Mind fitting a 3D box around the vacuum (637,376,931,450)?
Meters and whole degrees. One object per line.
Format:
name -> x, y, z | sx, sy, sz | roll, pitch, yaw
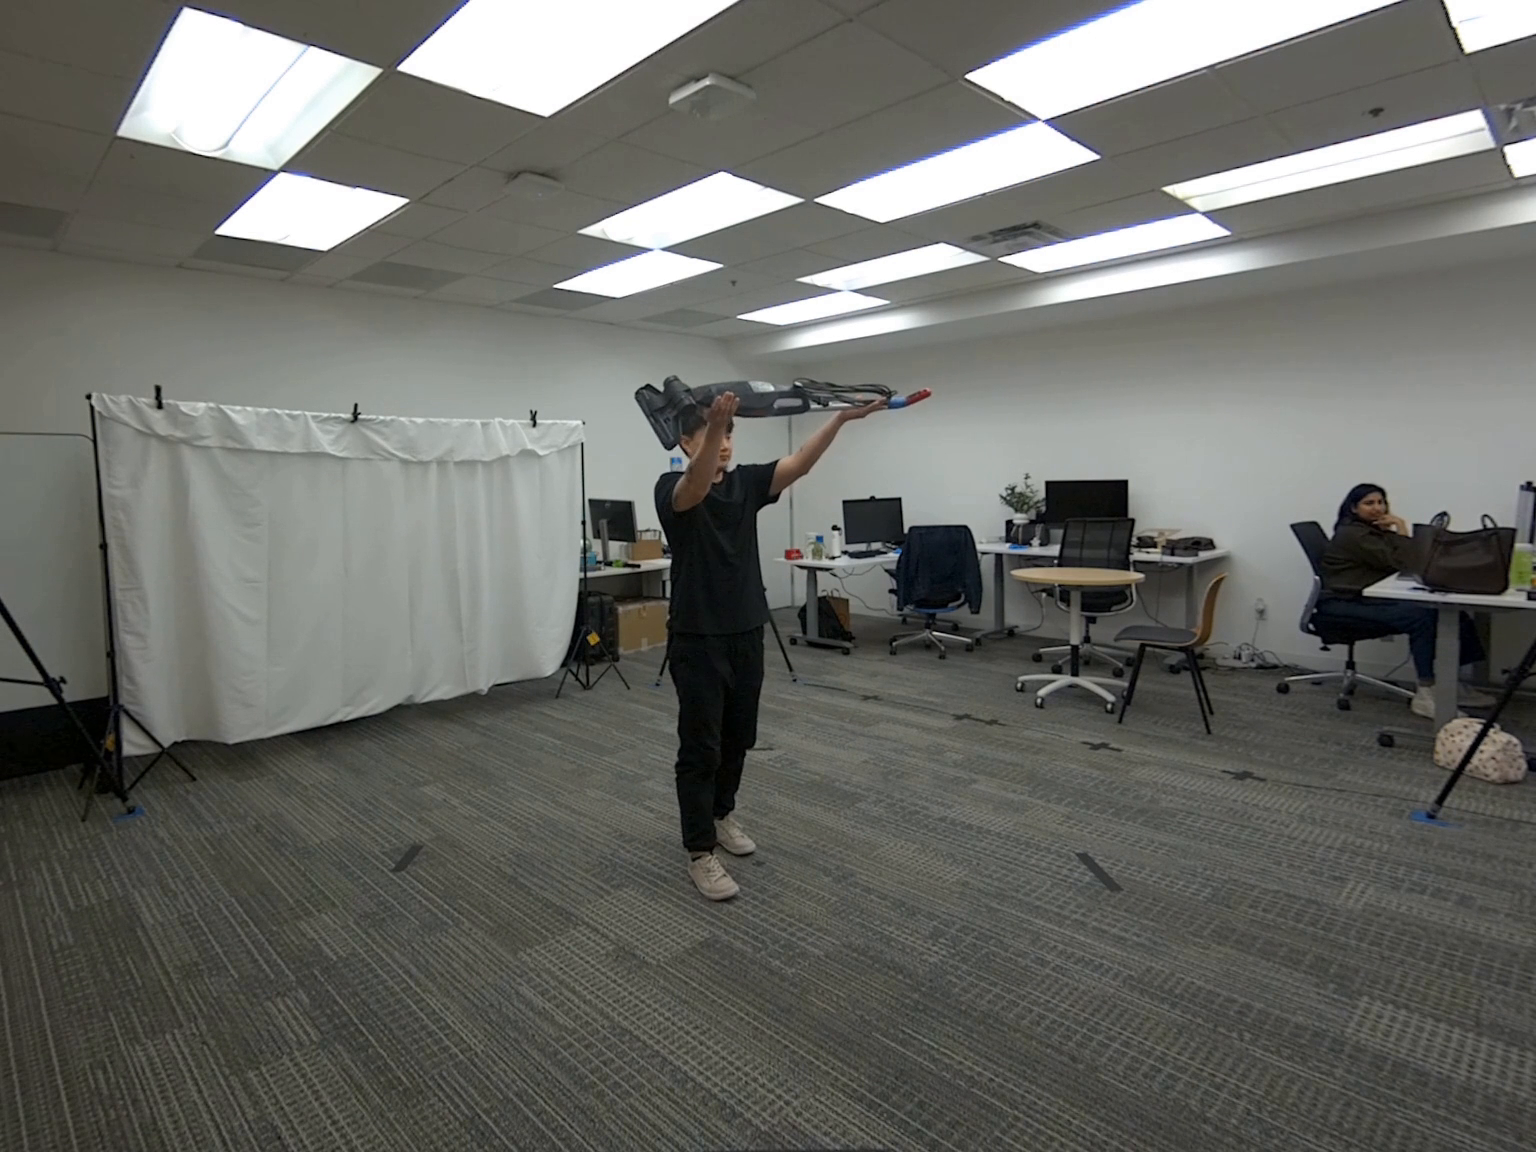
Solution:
vacuum -> 0.140, -0.575, 2.755 | 1.027, 0.142, 0.262 | -11, 49, -32
